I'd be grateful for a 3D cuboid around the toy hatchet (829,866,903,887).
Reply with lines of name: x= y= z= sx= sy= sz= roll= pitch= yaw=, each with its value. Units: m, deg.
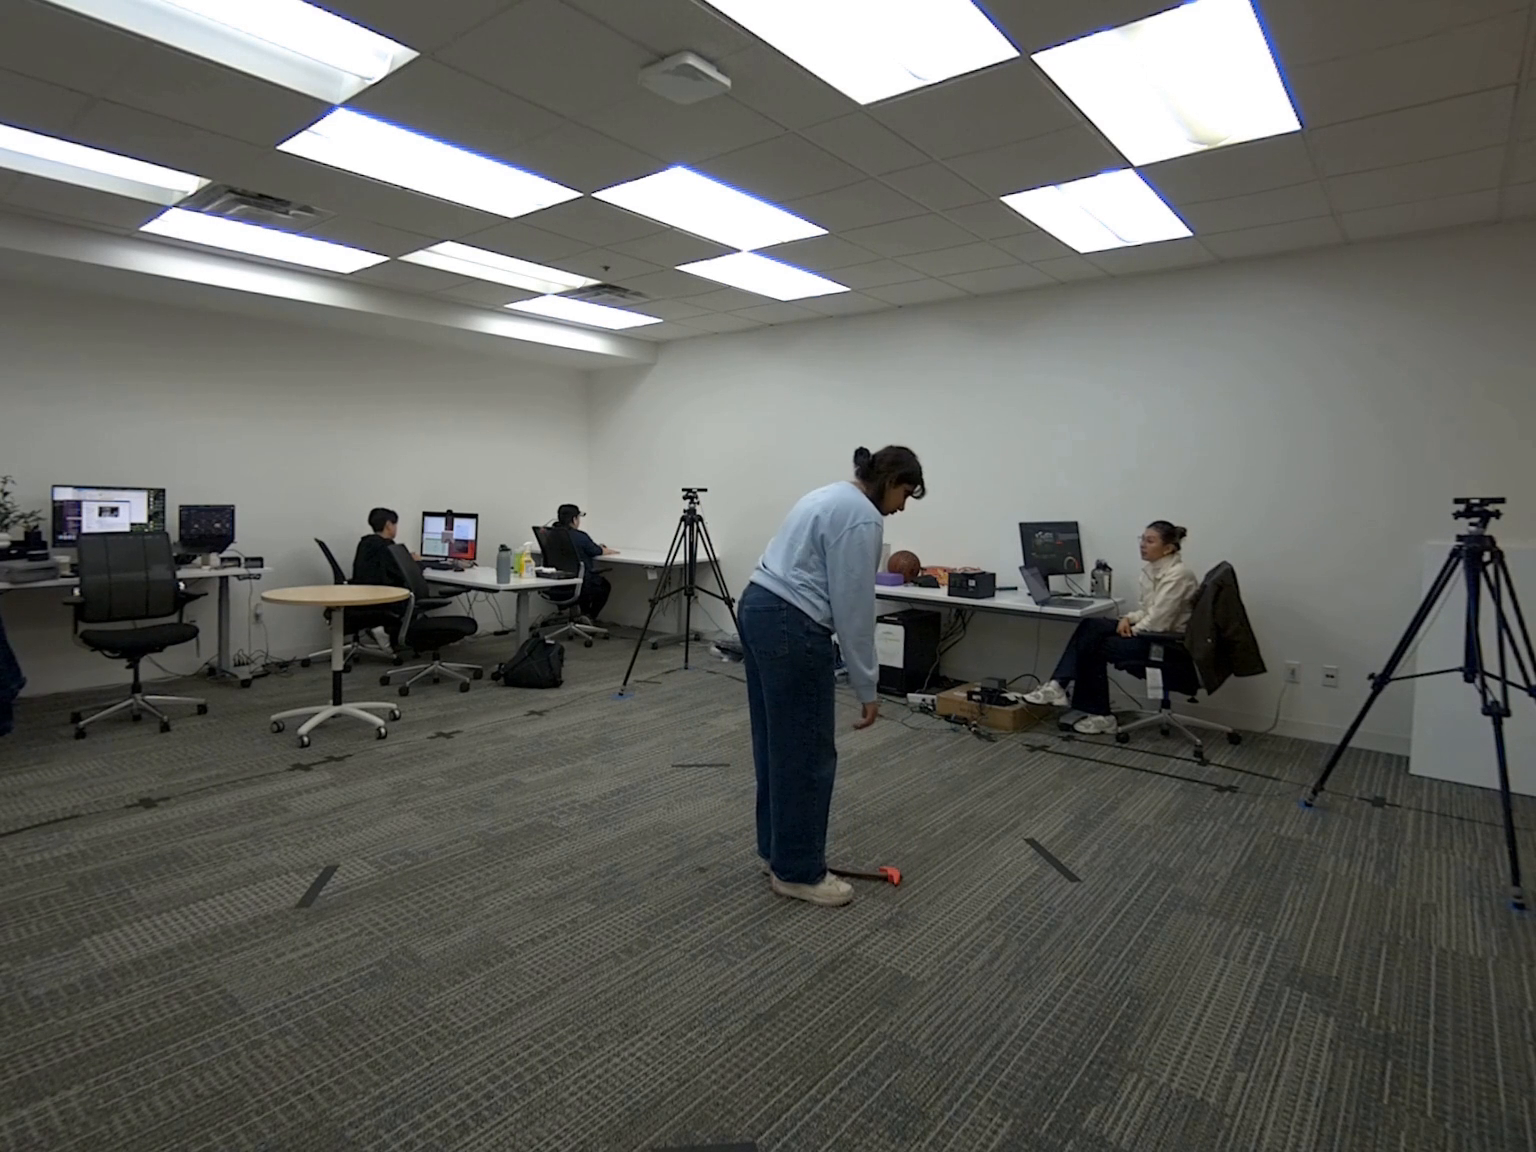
toy hatchet: x=0.352 y=1.071 z=3.095 sx=0.277 sy=0.029 sz=0.128 roll=2 pitch=6 yaw=25
